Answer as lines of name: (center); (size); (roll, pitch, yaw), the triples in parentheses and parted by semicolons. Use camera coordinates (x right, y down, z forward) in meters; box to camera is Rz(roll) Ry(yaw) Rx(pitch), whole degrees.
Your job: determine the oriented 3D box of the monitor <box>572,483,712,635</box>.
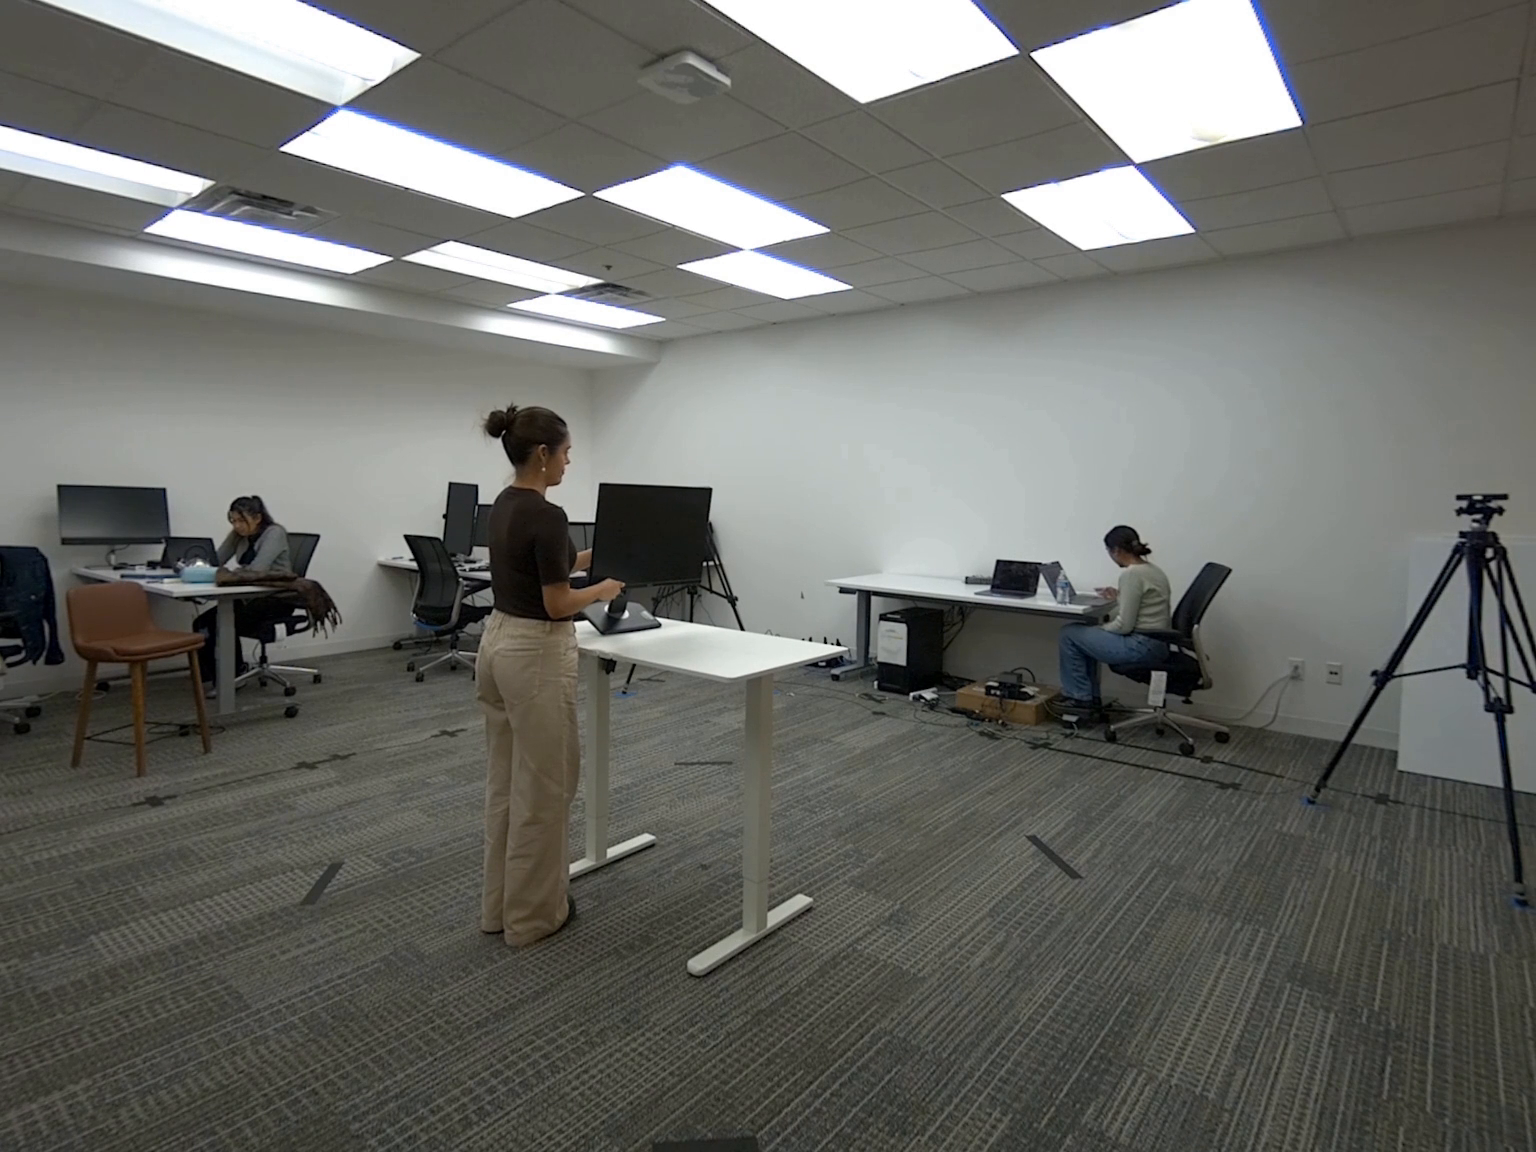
monitor: (-0.452, -0.071, 2.939); (0.194, 0.518, 0.523); (30, 20, 32)
